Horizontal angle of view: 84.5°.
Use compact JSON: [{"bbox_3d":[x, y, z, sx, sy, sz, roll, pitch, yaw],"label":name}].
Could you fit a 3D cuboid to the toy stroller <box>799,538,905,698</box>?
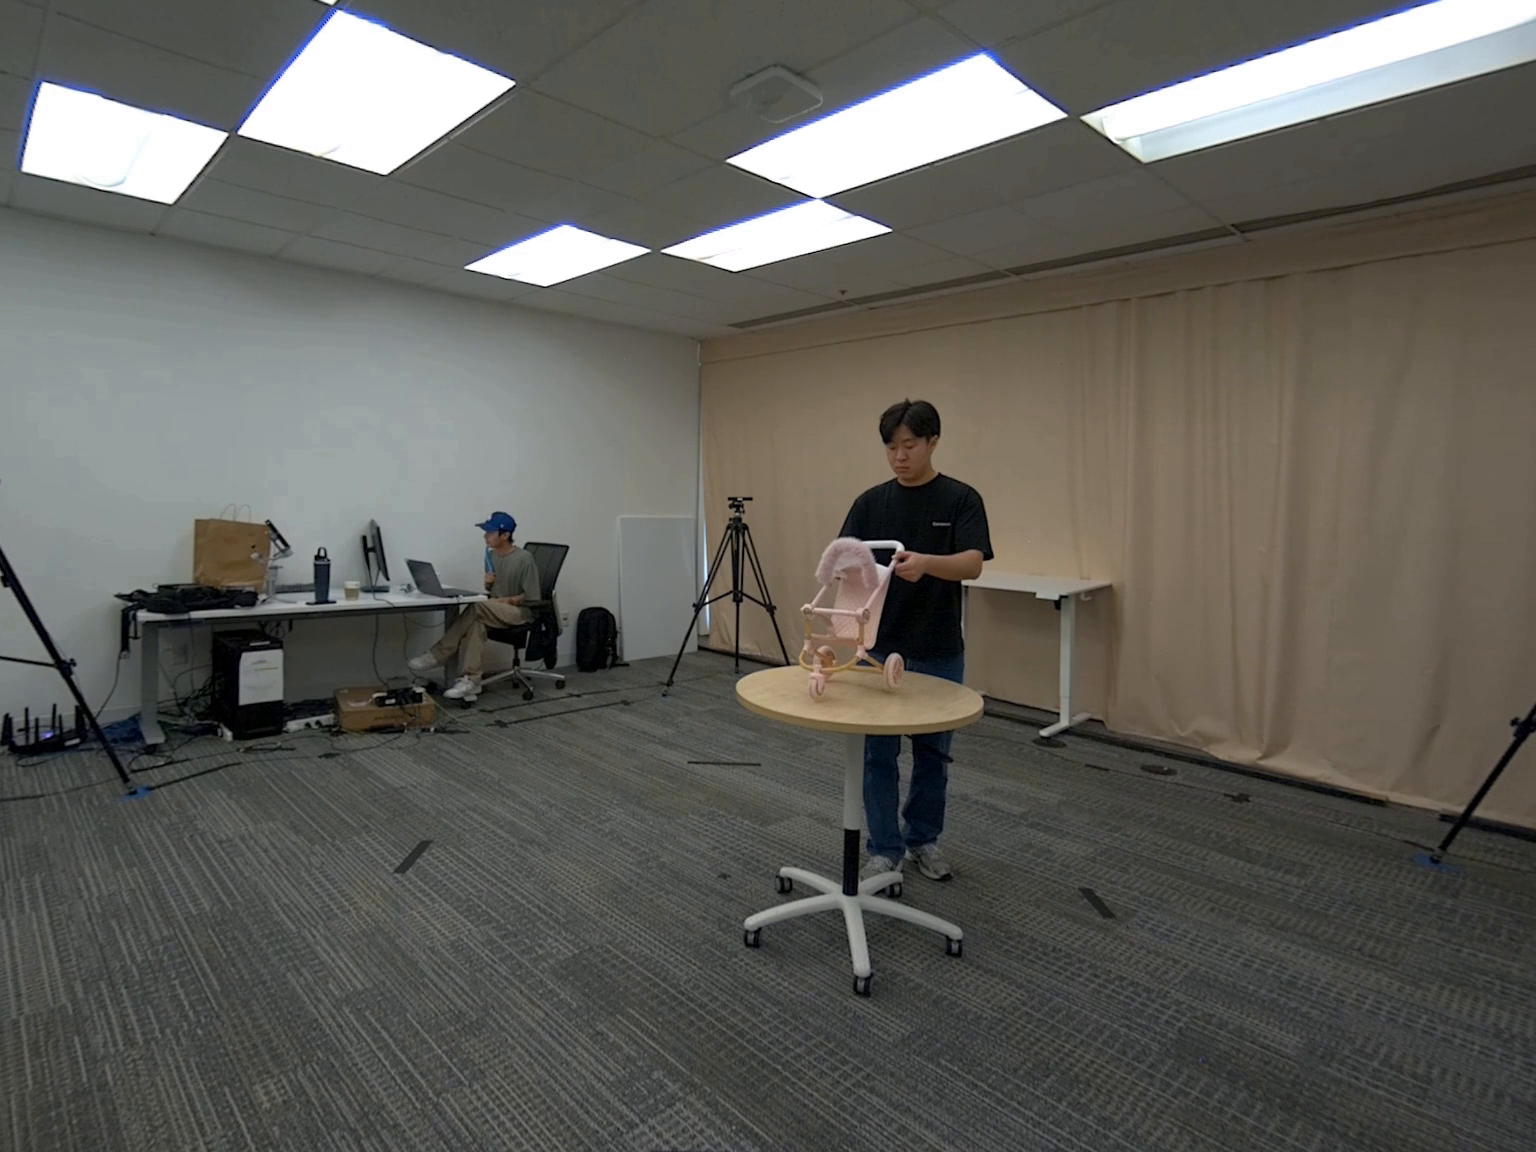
[{"bbox_3d":[0.239,0.123,2.633,0.288,0.537,0.331,1,-10,40],"label":"toy stroller"}]
